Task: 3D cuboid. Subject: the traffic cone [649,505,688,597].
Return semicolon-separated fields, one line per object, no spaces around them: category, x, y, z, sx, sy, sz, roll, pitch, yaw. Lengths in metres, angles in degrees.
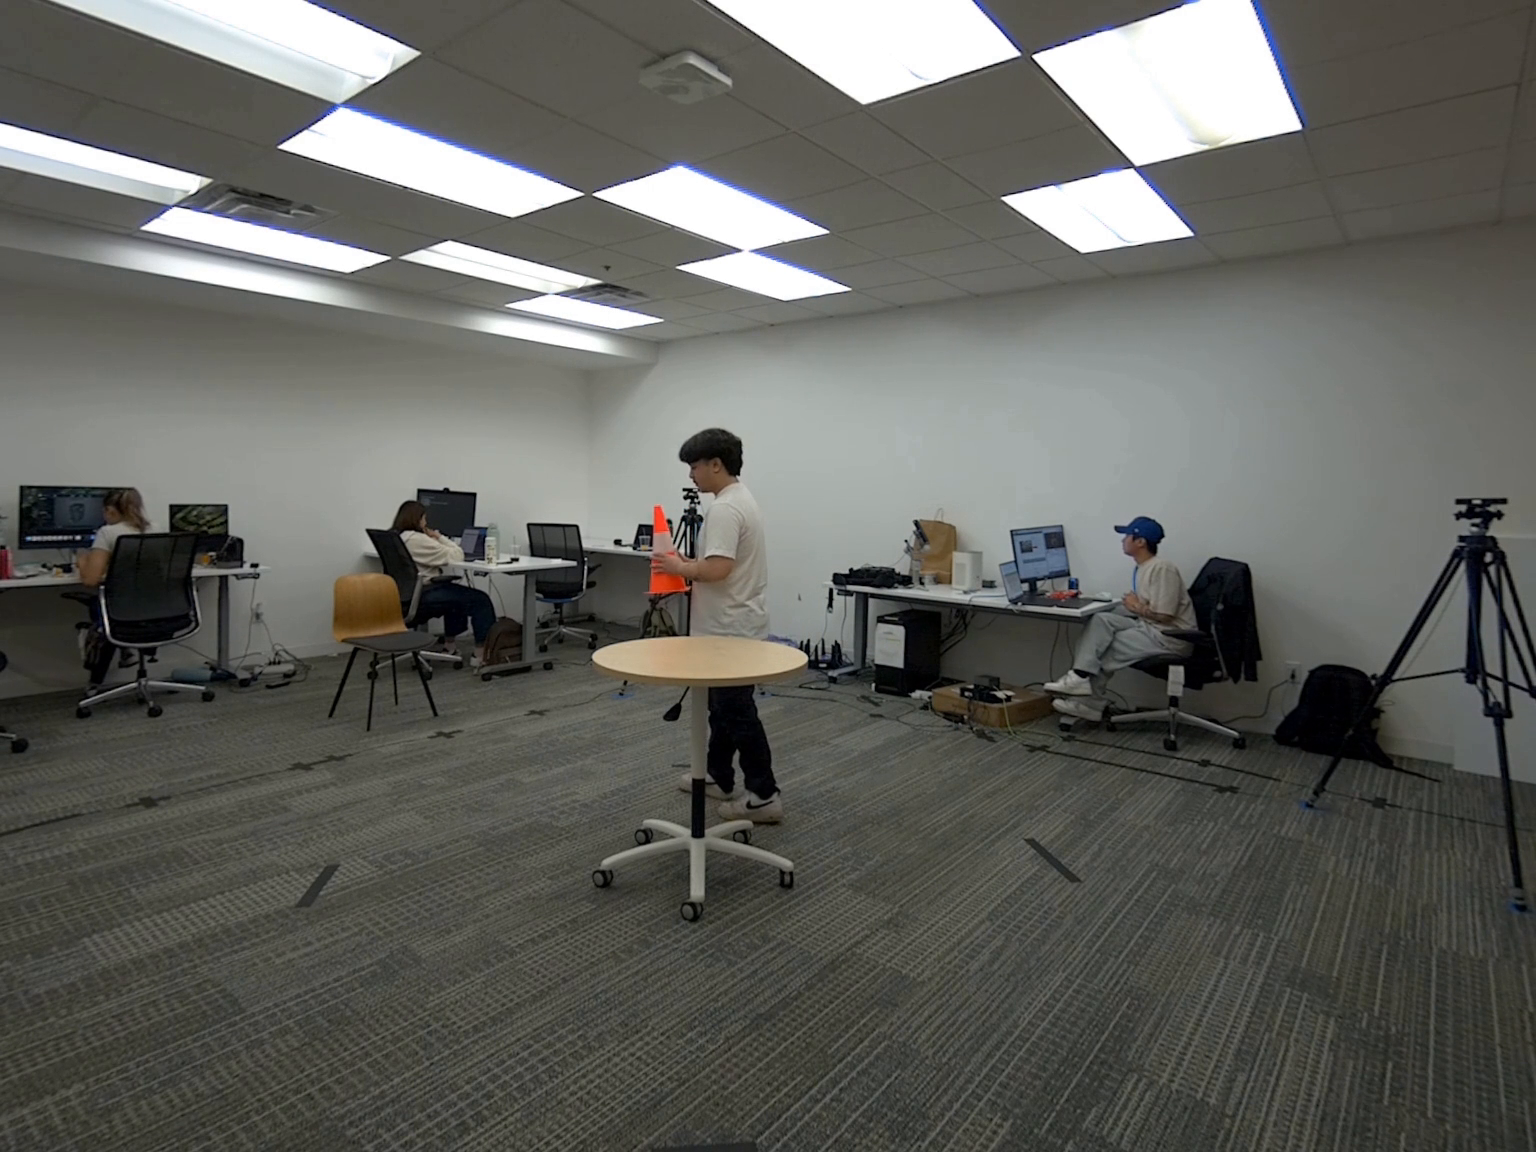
traffic cone;-0.478;-0.126;3.765;0.205;0.382;0.204;-7;3;8
